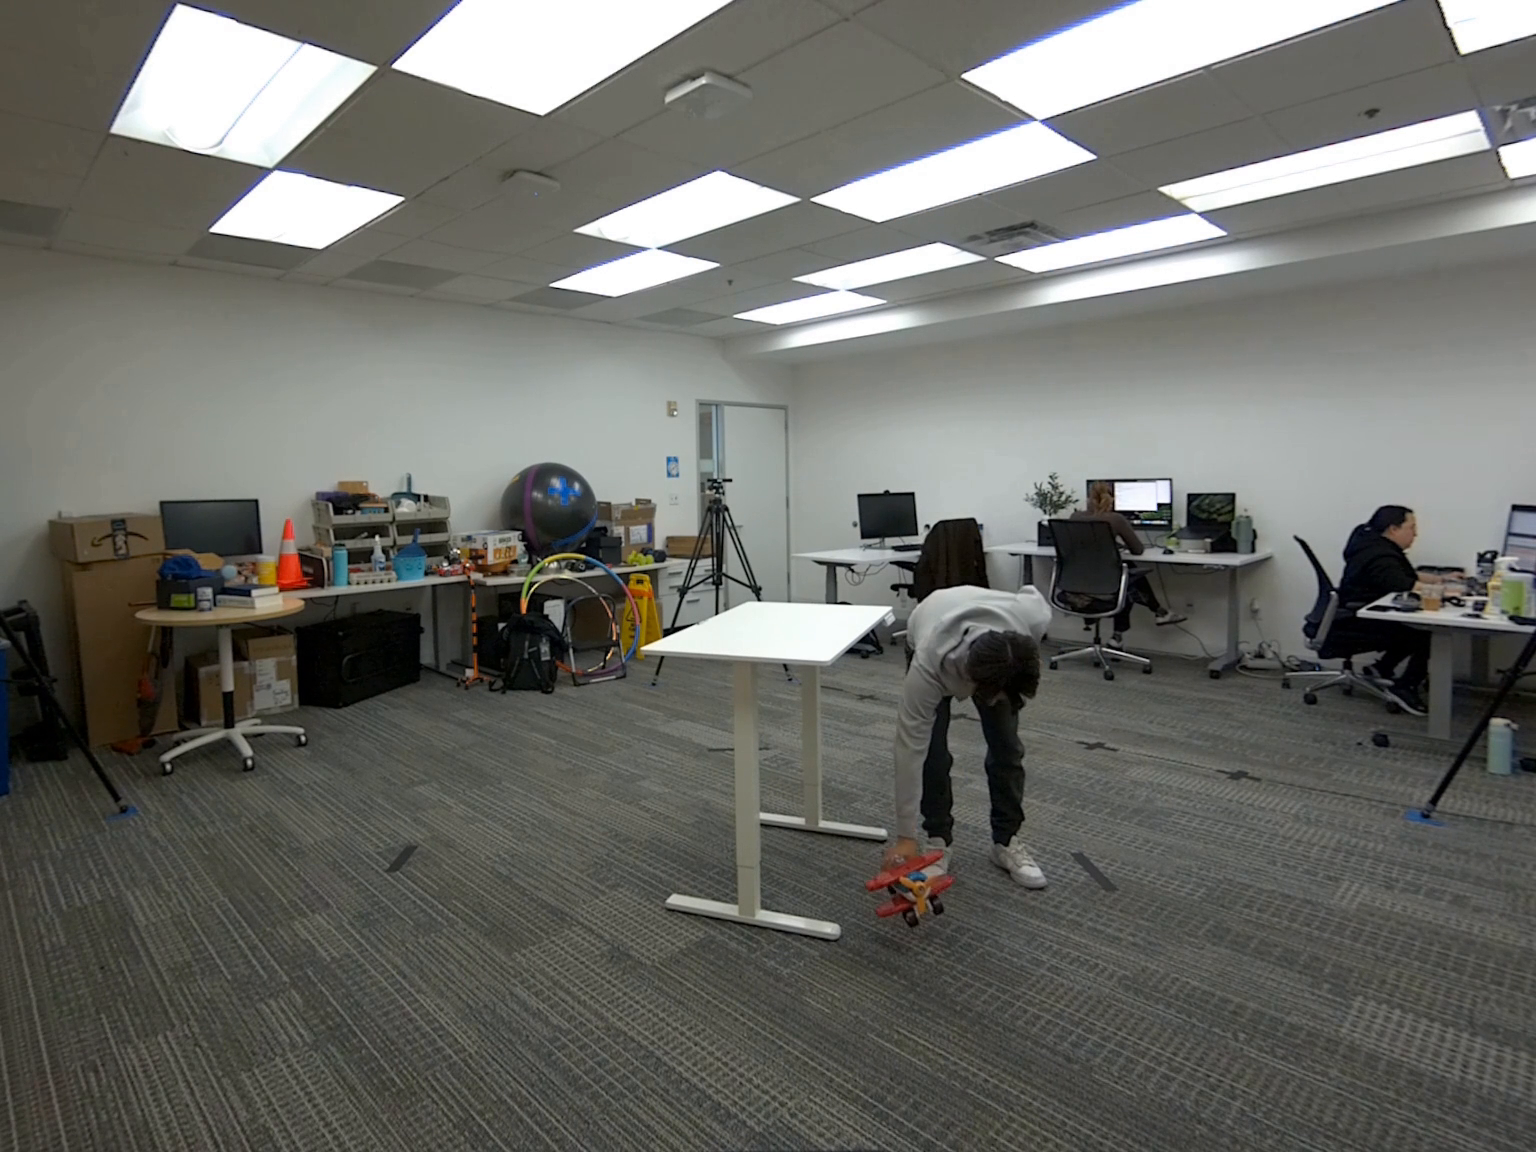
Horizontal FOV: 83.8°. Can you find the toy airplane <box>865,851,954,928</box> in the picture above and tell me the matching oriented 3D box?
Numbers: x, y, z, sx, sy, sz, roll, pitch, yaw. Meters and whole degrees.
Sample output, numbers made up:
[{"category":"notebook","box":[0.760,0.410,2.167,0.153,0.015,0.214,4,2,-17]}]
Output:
[{"category":"toy airplane","box":[0.406,0.927,2.558,0.247,0.155,0.266,-27,14,-41]}]
